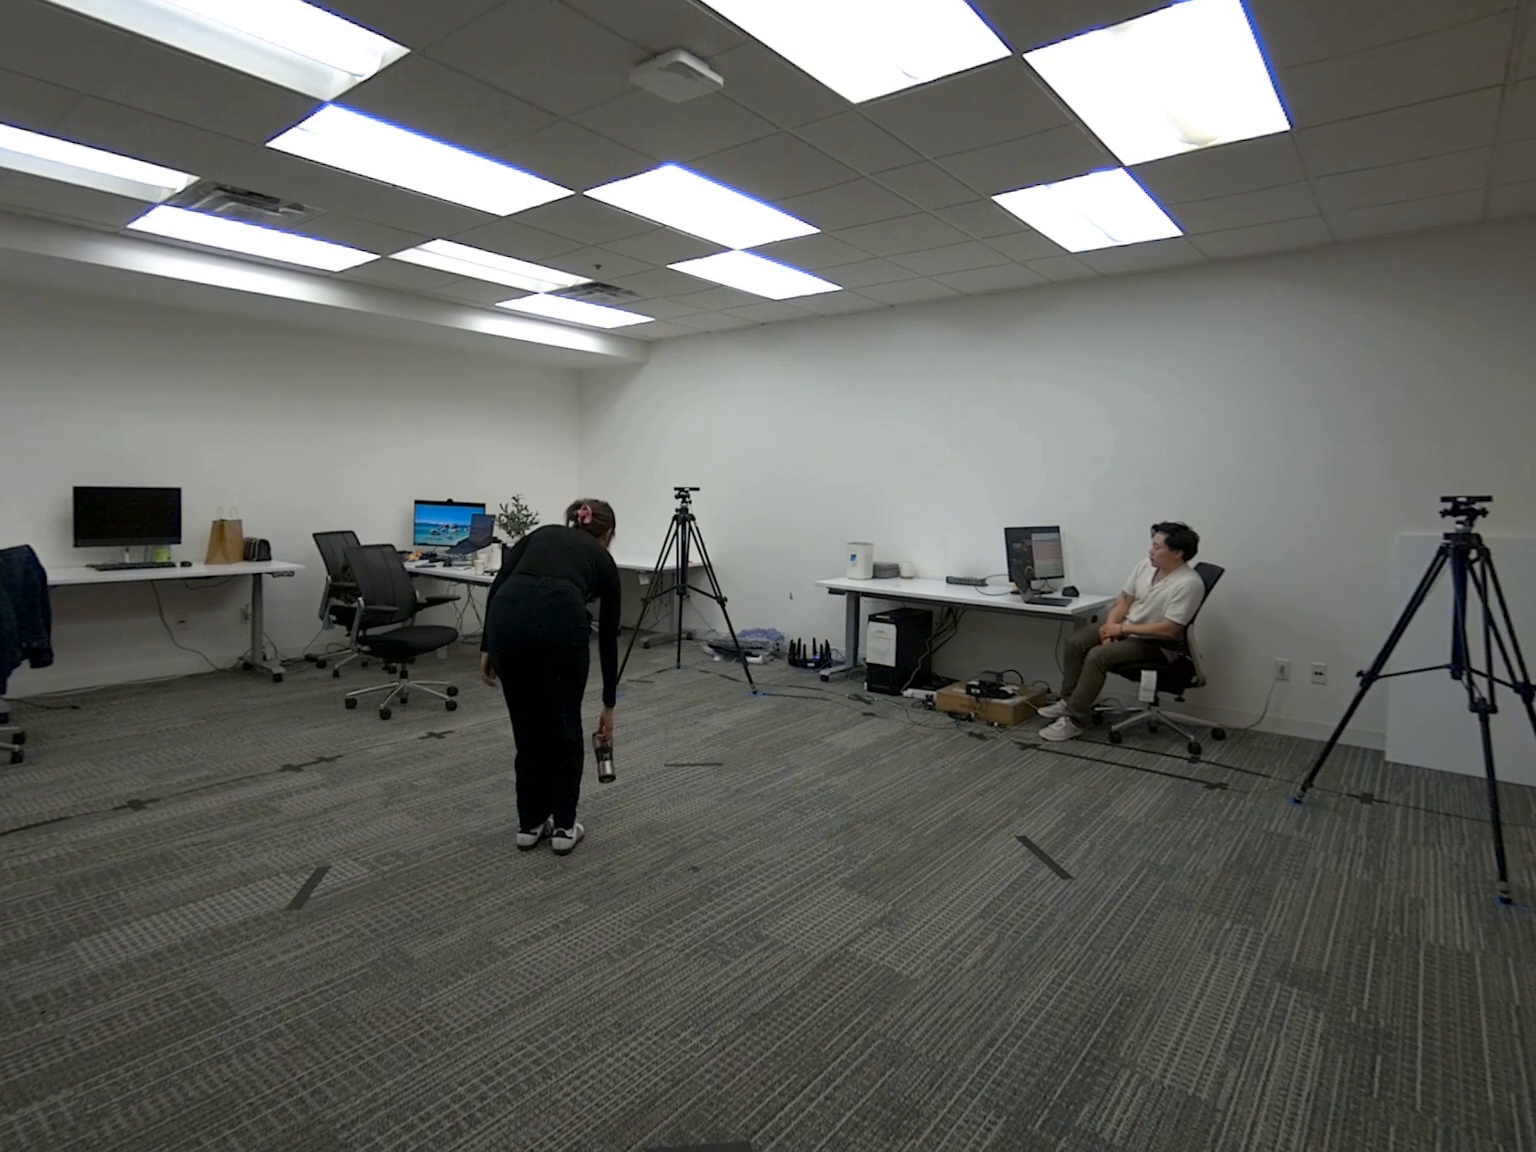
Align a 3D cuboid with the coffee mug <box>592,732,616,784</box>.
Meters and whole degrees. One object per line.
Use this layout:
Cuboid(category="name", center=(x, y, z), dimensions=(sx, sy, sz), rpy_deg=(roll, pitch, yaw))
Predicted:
Cuboid(category="coffee mug", center=(-0.719, 0.759, 3.578), dimensions=(0.122, 0.208, 0.085), rpy_deg=(-6, -29, -1))
